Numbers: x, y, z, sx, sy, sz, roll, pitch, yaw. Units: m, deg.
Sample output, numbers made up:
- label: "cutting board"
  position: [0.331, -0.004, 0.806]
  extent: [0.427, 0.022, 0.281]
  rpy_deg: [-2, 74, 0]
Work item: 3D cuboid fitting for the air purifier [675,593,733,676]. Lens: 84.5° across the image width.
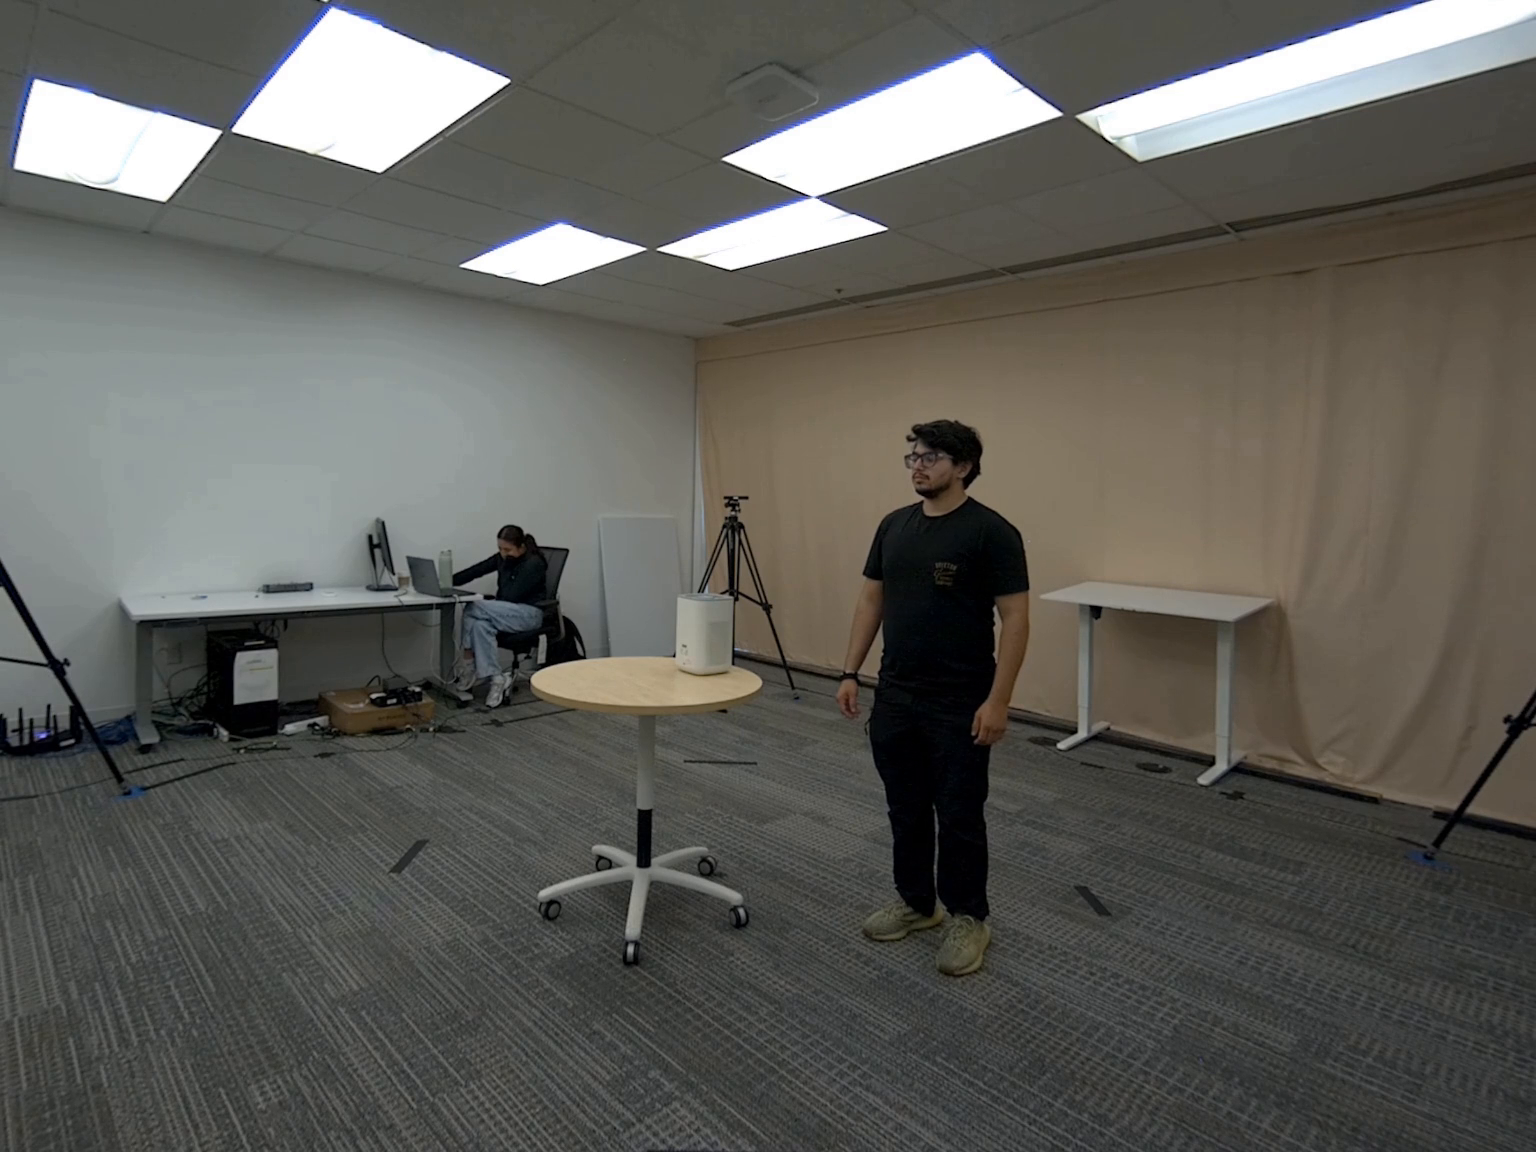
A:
- label: "air purifier"
  position: [-0.225, 0.202, 2.955]
  extent: [0.167, 0.265, 0.175]
  rpy_deg: [0, 3, -39]
